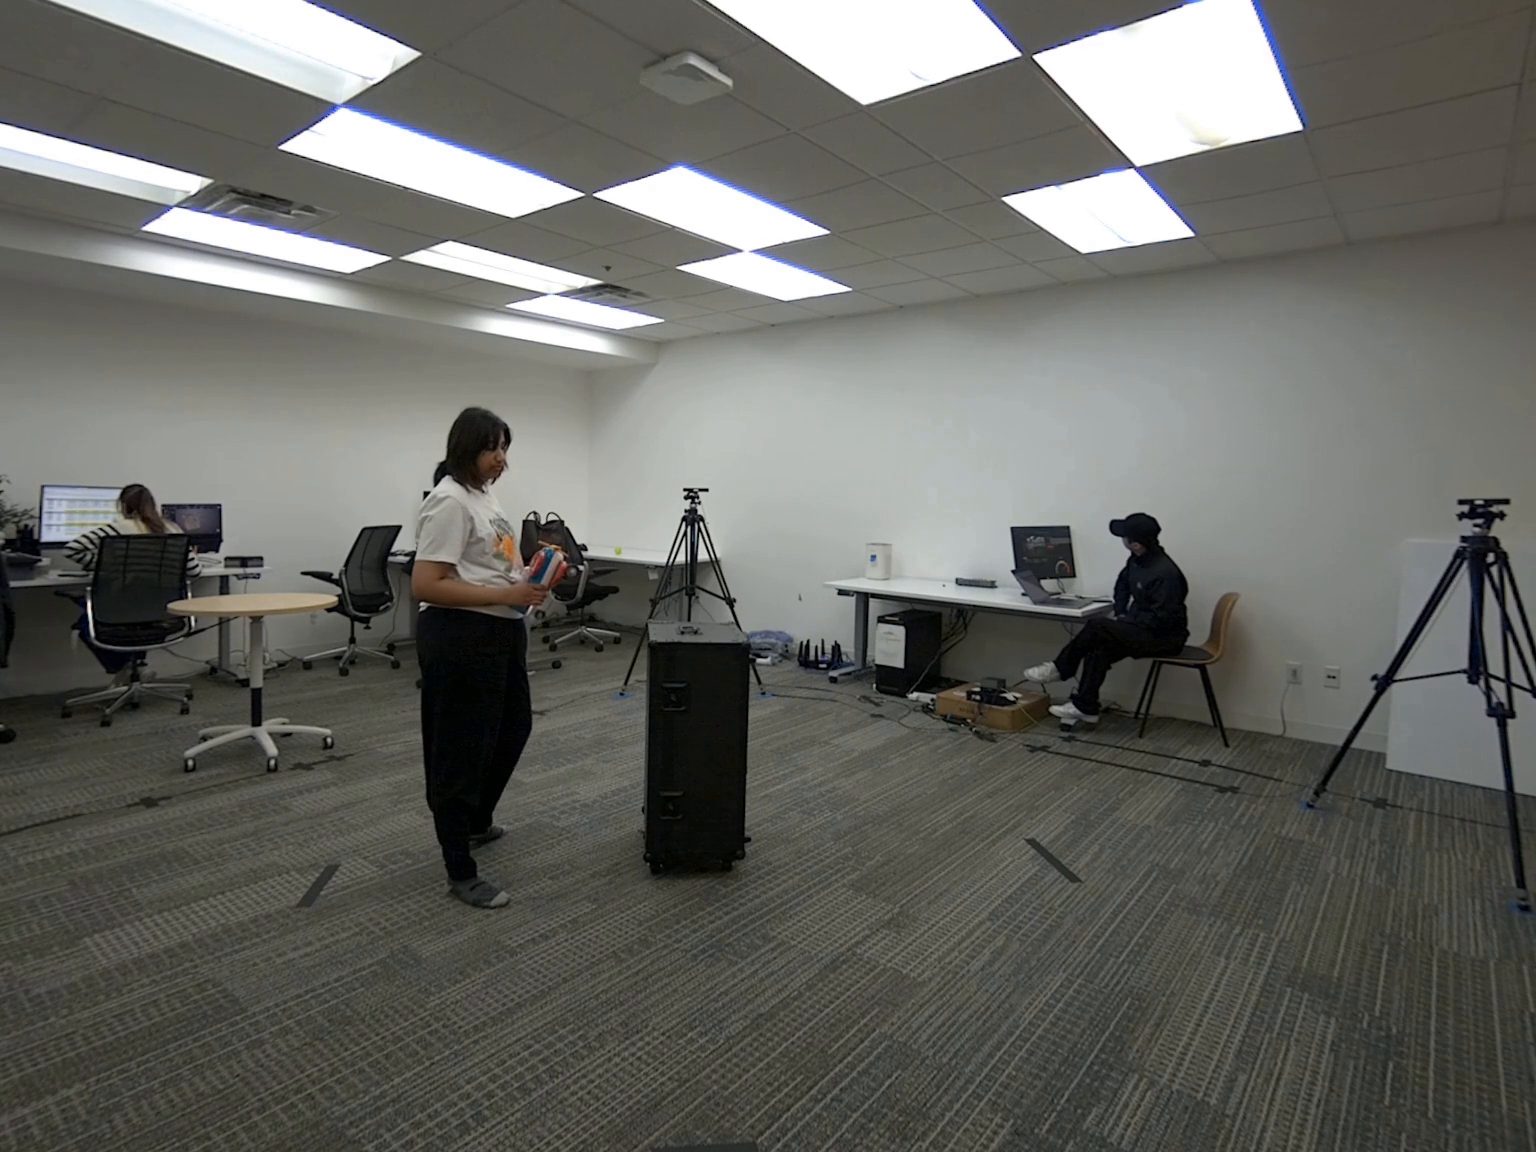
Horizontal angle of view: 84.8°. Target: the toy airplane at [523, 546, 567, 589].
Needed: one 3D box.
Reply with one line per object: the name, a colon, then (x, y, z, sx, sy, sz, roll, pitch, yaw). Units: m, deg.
toy airplane: (-0.777, 0.019, 2.880, 0.153, 0.262, 0.253, 41, -42, -15)
